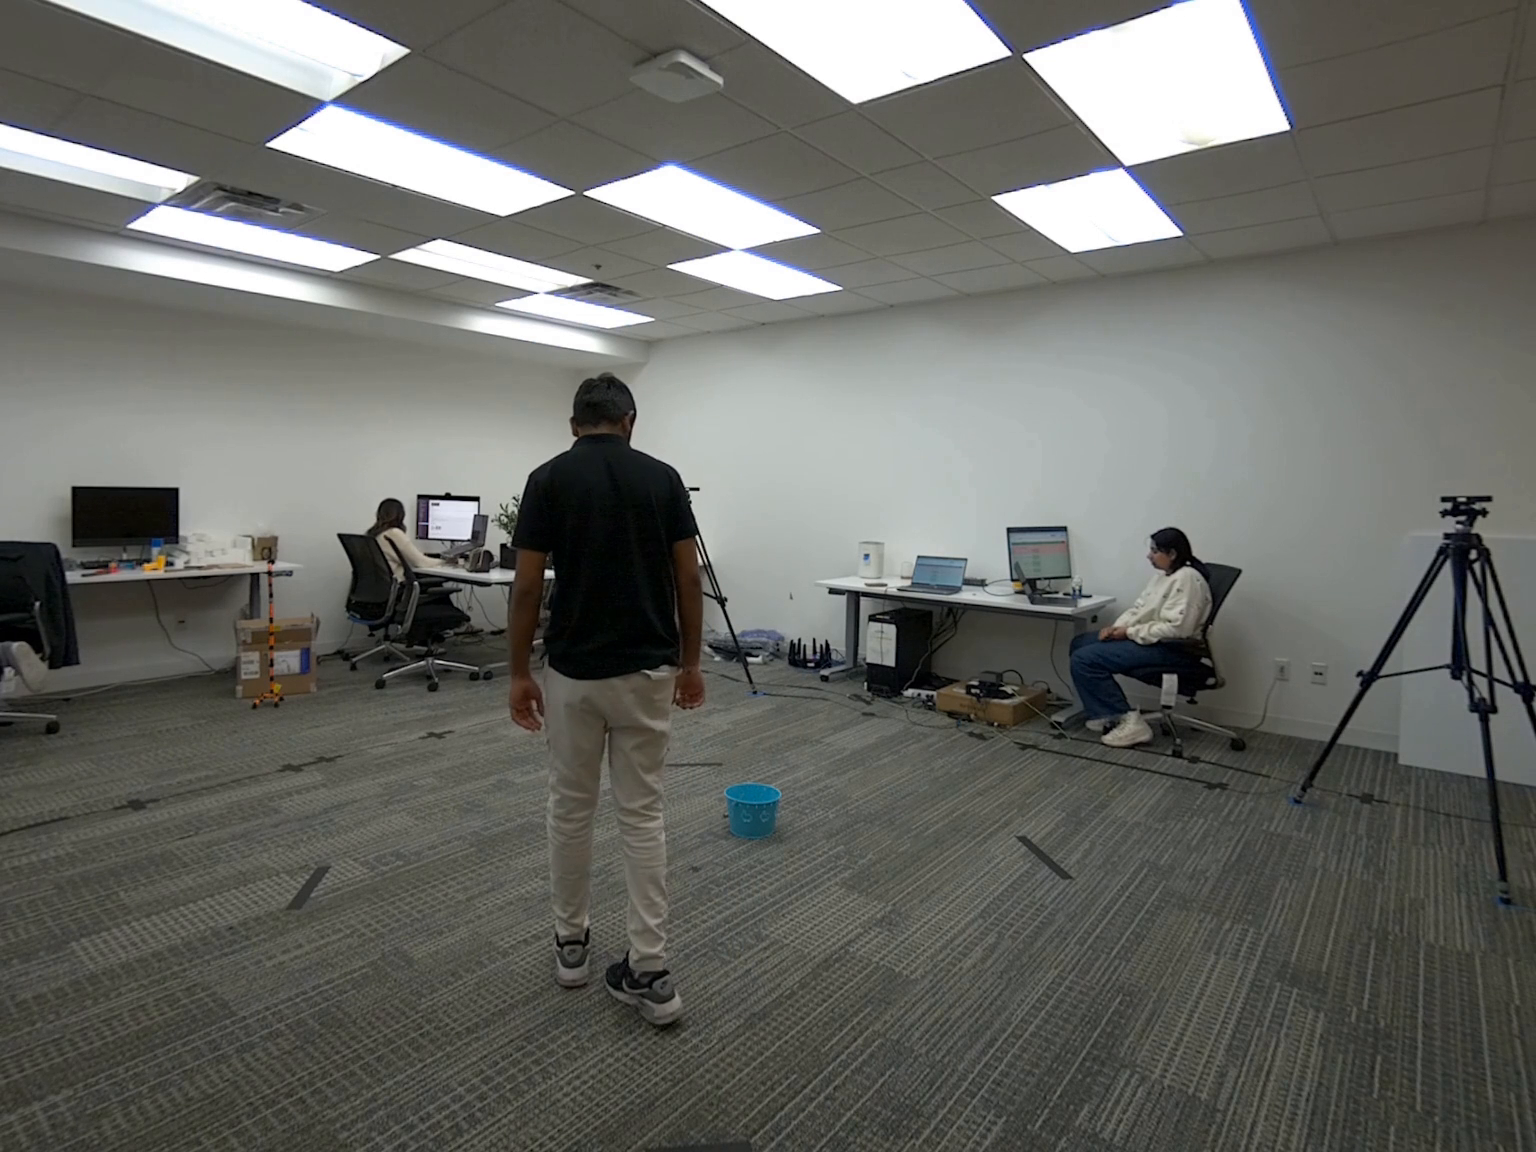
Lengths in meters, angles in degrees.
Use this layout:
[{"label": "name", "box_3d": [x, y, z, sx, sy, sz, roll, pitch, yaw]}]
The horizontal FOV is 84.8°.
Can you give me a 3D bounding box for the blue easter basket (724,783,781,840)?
[{"label": "blue easter basket", "box_3d": [-0.075, 0.953, 3.480, 0.243, 0.155, 0.245, 1, 5, -2]}]
